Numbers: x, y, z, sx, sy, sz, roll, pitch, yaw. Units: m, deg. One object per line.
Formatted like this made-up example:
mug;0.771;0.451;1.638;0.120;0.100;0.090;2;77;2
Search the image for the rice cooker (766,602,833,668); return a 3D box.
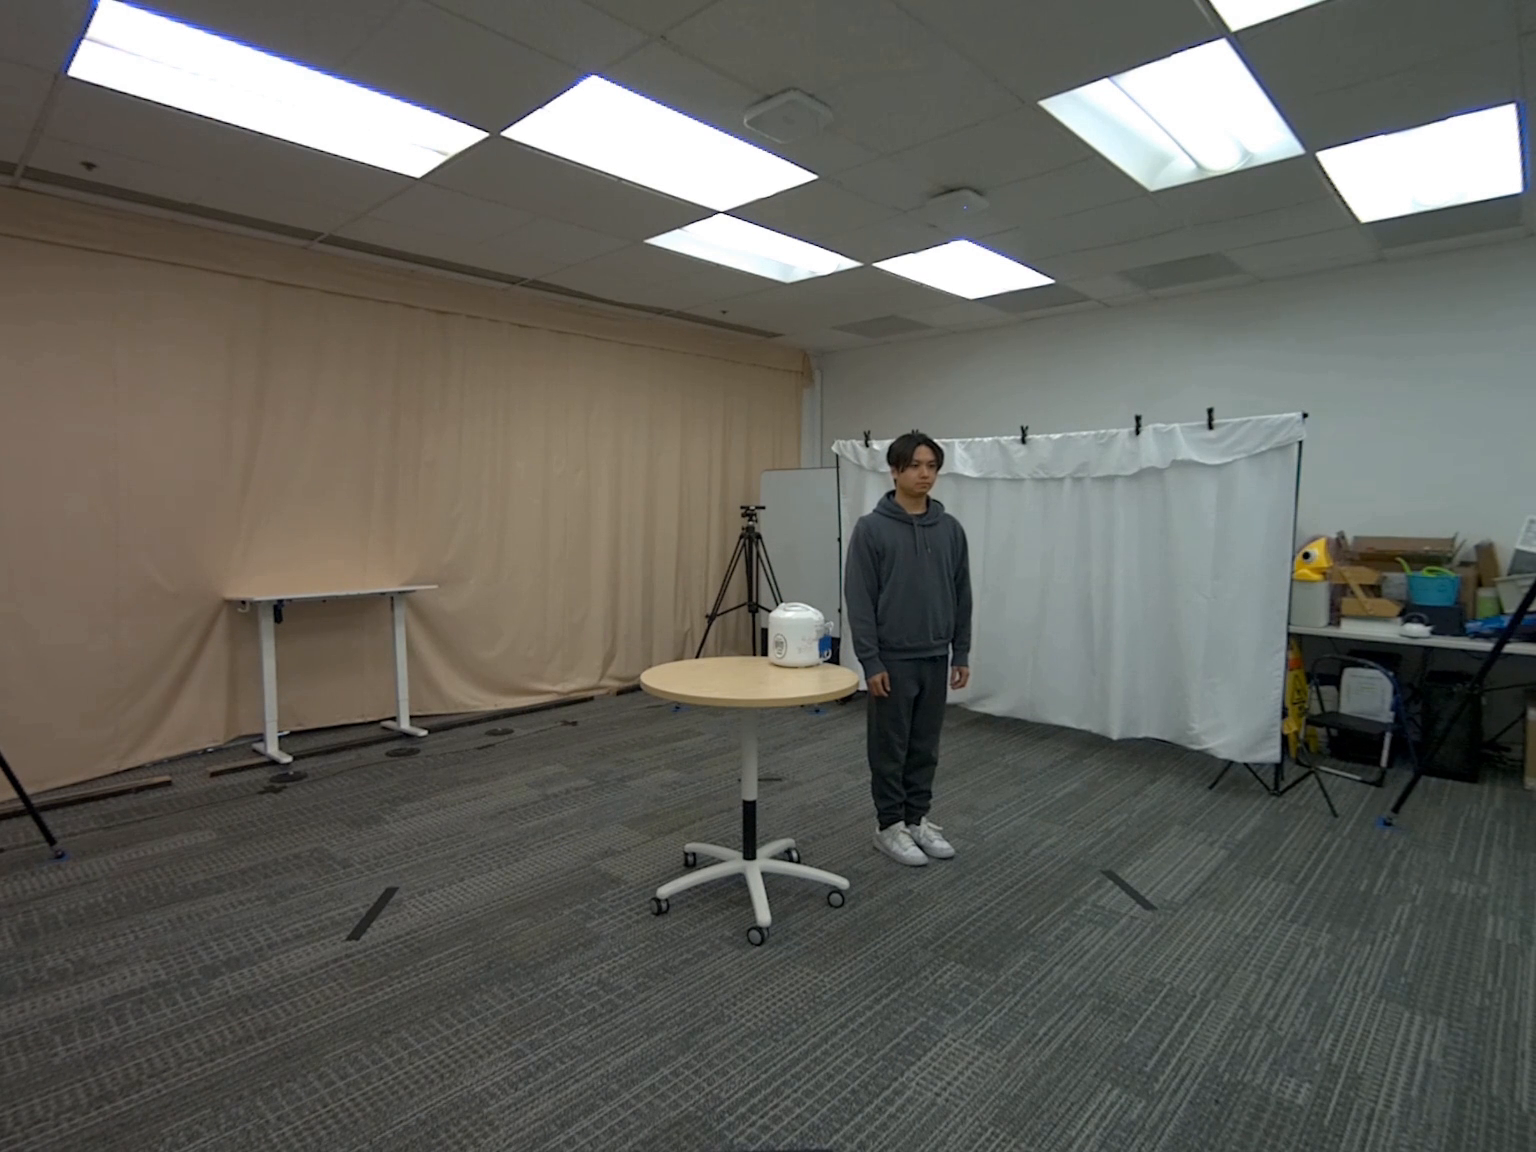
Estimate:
rice cooker;0.109;0.217;3.170;0.228;0.232;0.211;3;2;38
